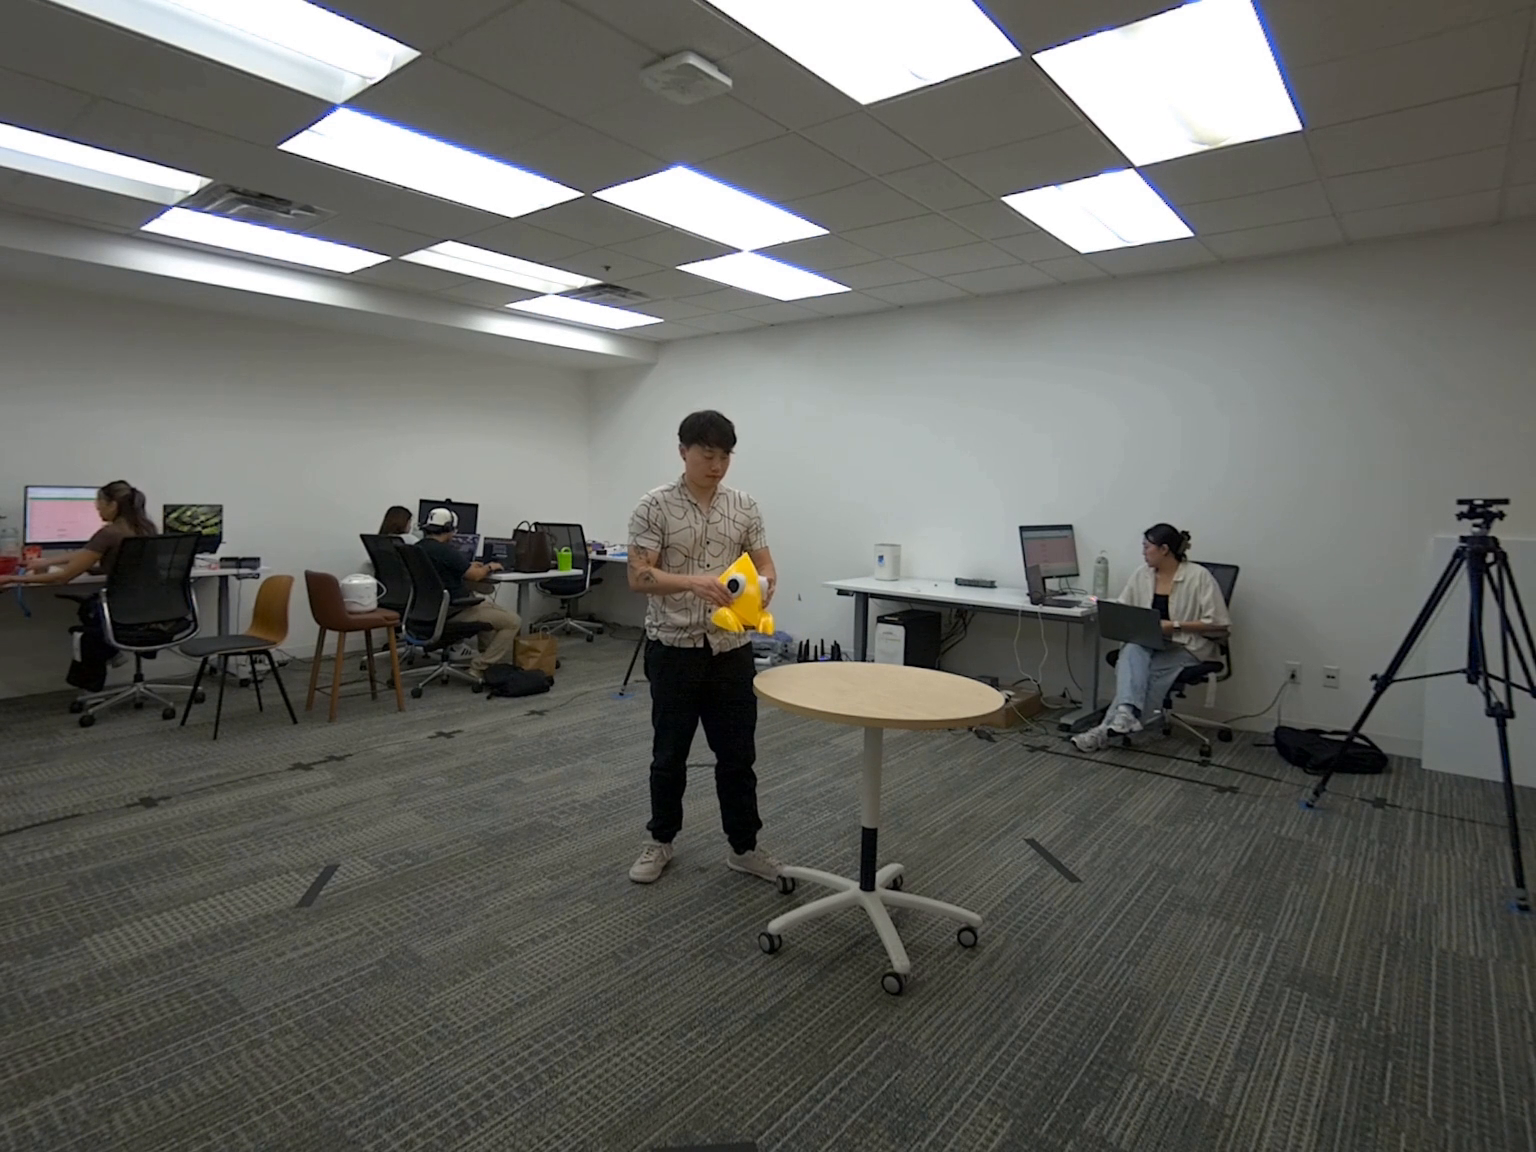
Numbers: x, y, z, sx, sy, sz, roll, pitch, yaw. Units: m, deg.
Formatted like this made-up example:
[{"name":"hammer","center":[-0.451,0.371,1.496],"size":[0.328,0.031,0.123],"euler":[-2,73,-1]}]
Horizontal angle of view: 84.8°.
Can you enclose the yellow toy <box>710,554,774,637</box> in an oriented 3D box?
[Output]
[{"name":"yellow toy","center":[-0.076,0.046,2.743],"size":[0.198,0.229,0.200],"euler":[7,8,-33]}]
